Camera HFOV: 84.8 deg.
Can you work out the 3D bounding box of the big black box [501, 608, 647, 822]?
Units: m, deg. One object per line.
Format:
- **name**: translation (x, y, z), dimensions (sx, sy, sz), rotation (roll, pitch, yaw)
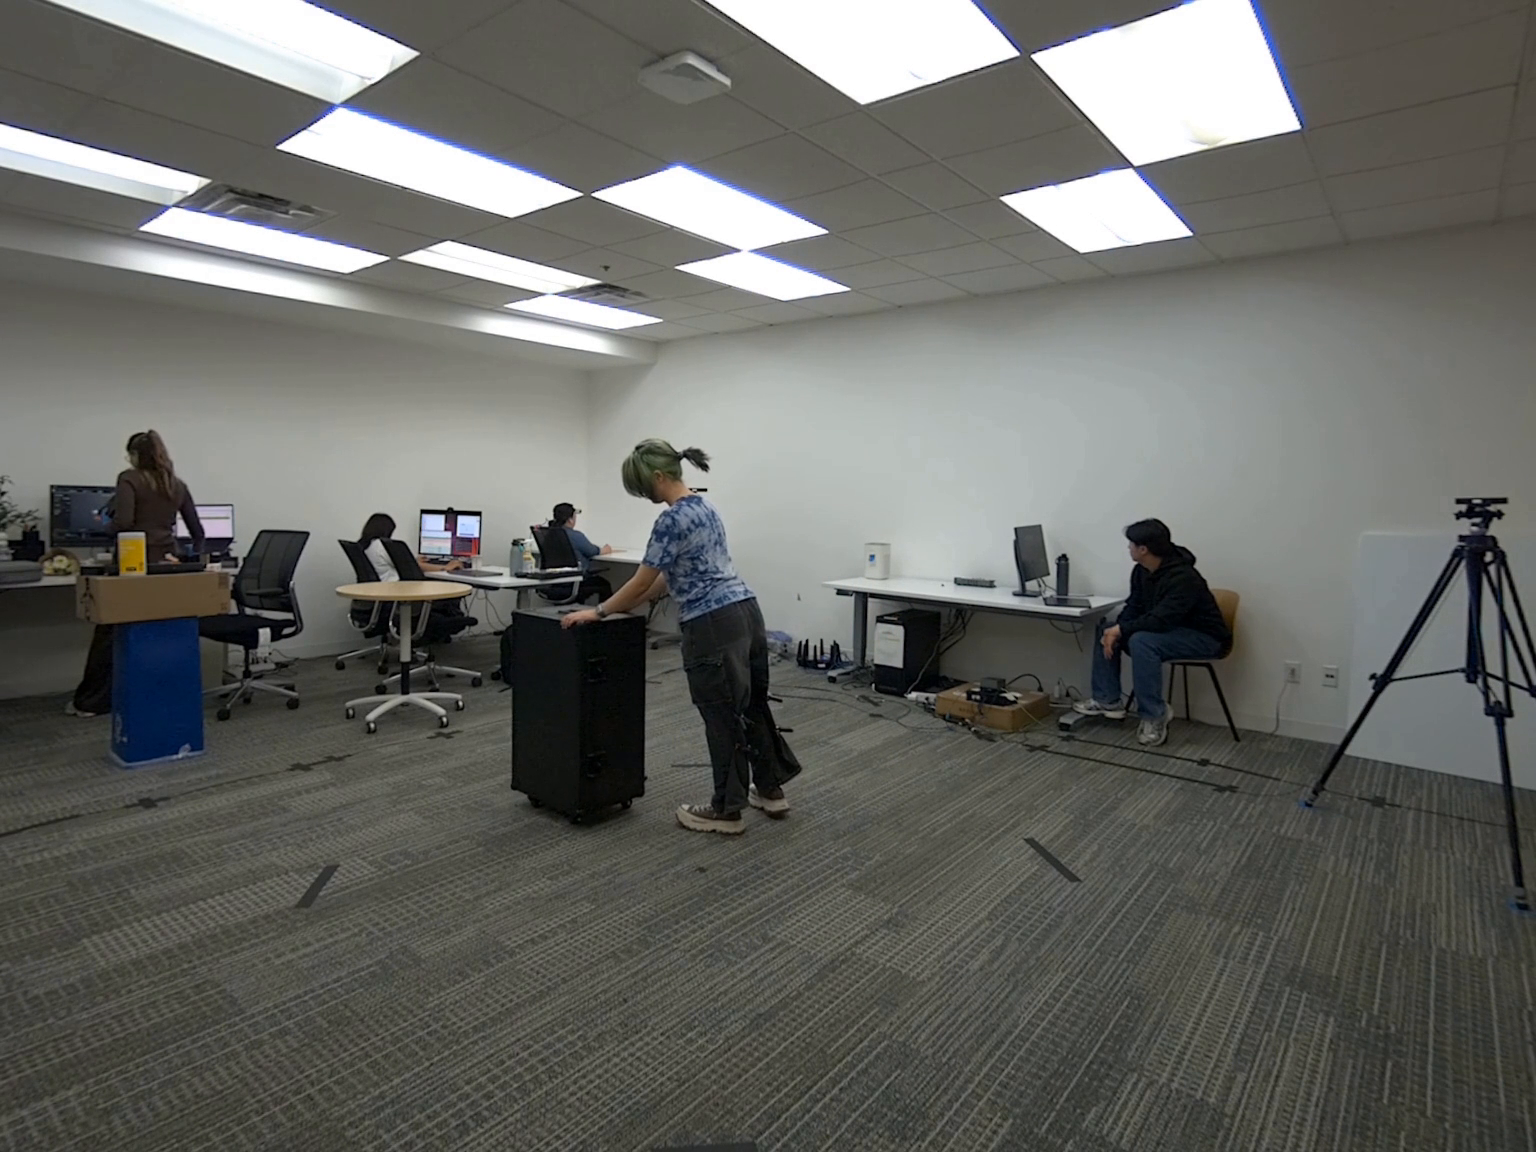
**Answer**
- **big black box**: translation (-0.831, 0.581, 3.685), dimensions (0.539, 0.860, 0.384), rotation (4, 3, 41)
